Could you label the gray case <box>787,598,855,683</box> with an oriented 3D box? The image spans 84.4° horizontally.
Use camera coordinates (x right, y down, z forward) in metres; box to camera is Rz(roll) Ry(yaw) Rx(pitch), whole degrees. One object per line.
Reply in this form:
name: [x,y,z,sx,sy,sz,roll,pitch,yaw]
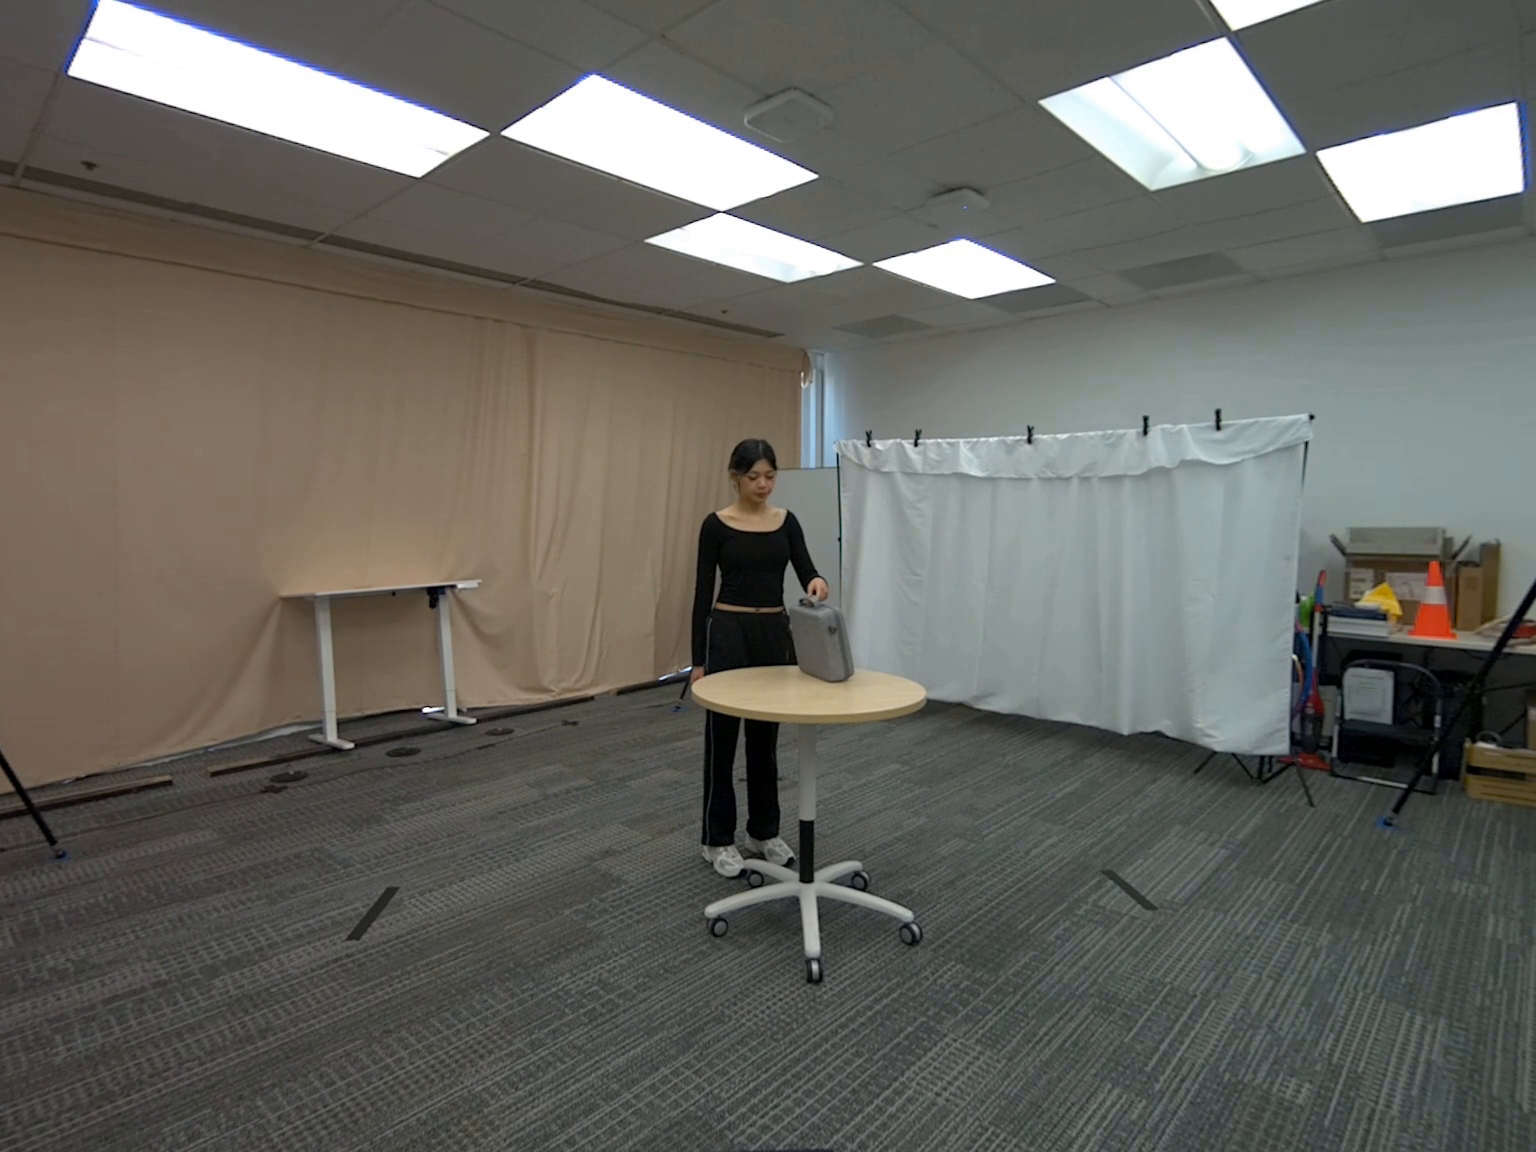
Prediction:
gray case: [0.187,0.223,2.947,0.102,0.259,0.263,-10,7,-23]
